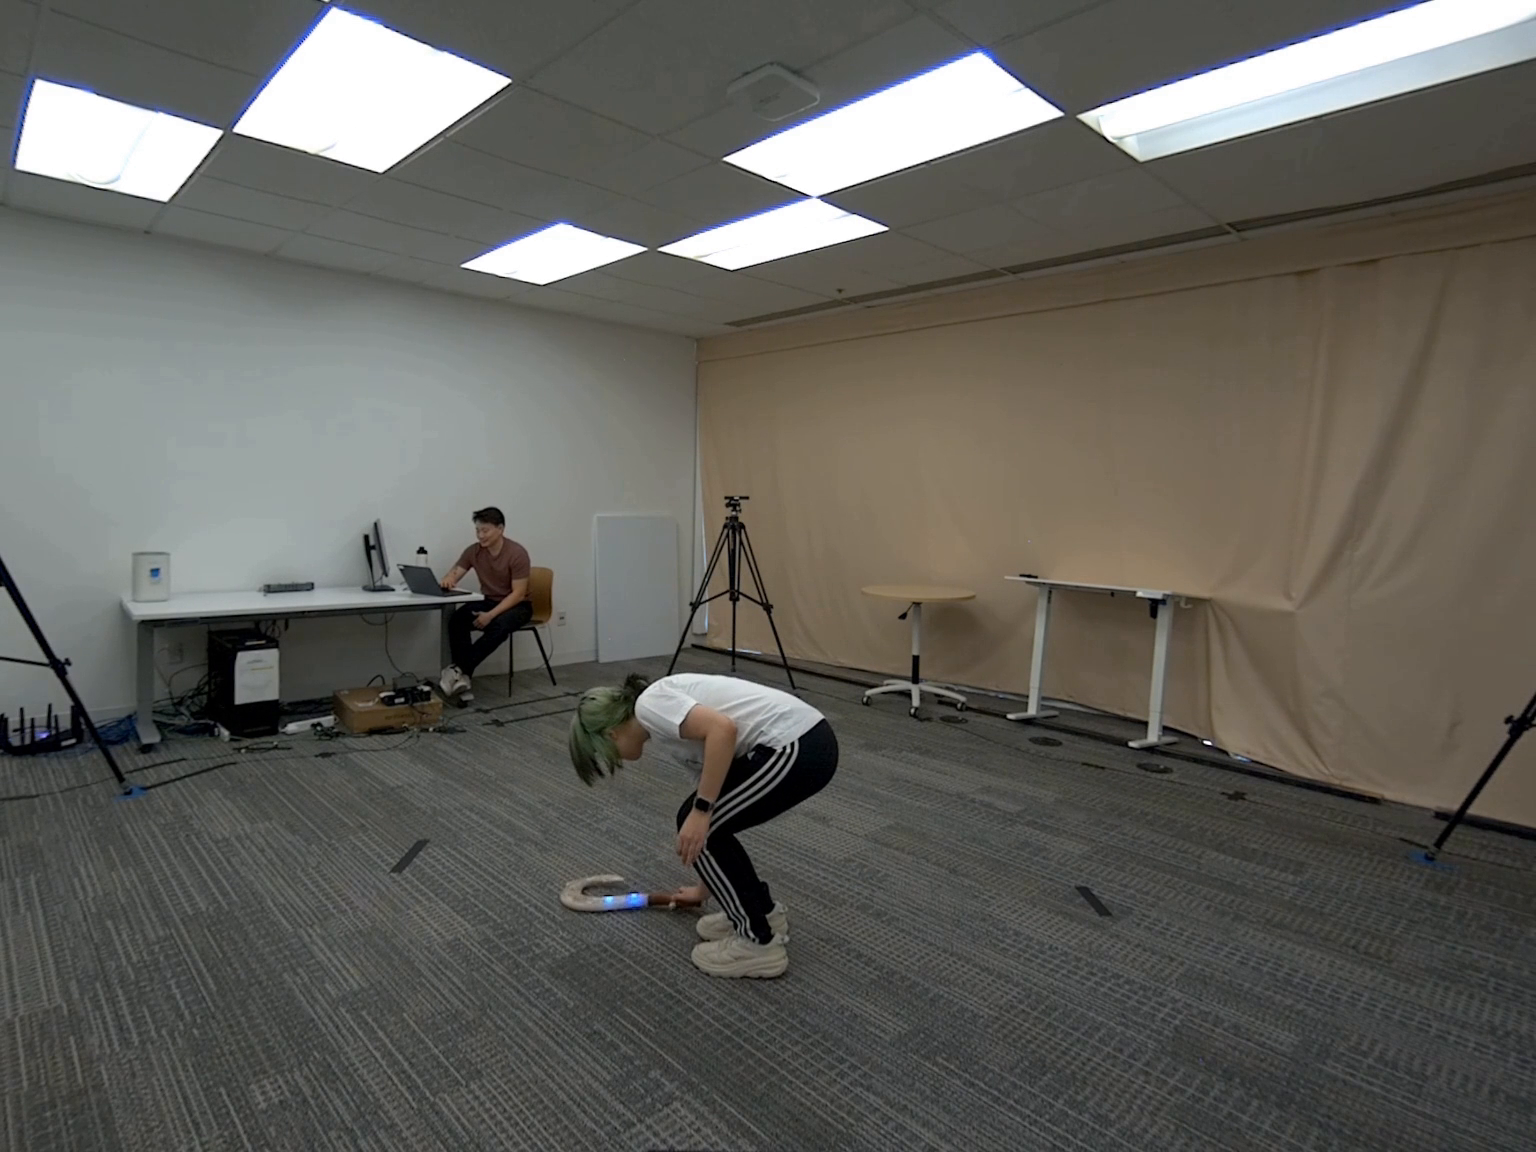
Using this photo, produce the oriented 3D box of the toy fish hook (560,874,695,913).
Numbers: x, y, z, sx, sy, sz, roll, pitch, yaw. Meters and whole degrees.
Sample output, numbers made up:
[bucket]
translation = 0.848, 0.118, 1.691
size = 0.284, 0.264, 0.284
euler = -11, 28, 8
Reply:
[toy fish hook]
translation = -0.461, 1.081, 2.887
size = 0.509, 0.048, 0.225
euler = 0, 9, 6
